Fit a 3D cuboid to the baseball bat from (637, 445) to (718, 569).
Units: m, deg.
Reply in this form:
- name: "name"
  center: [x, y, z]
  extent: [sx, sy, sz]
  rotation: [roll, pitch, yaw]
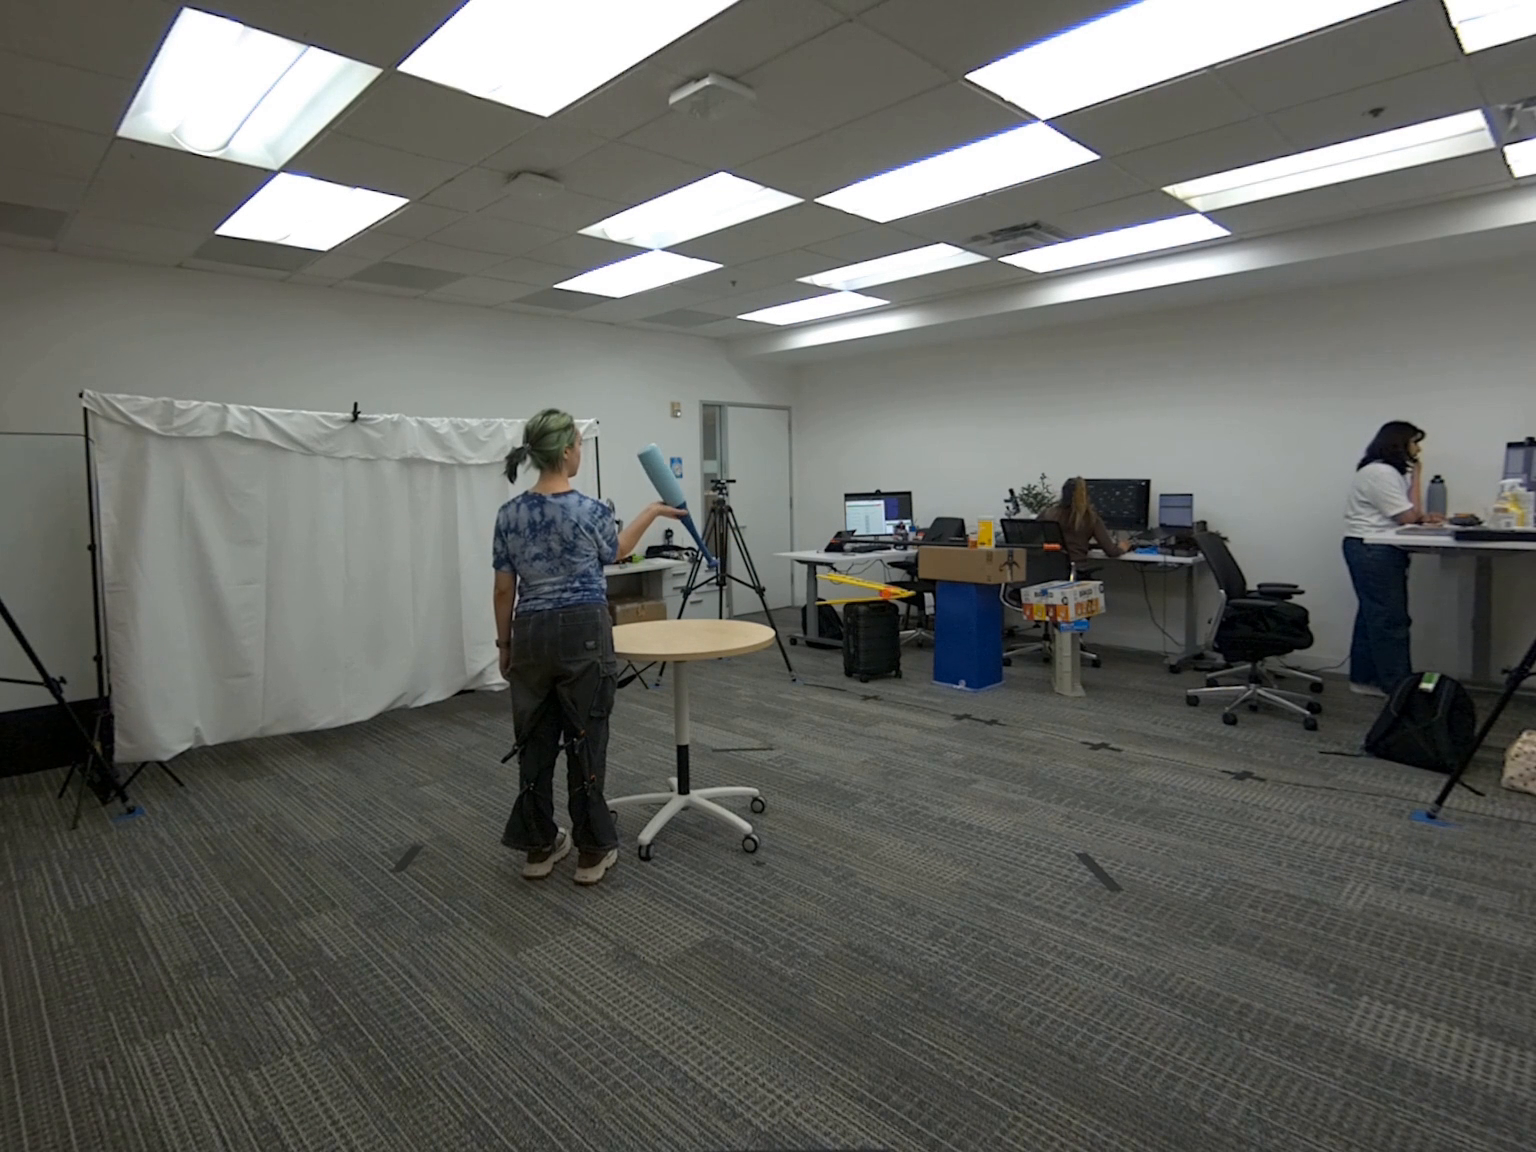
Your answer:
- name: "baseball bat"
  center: [-0.340, -0.259, 3.277]
  extent: [0.089, 0.533, 0.090]
  rotation: [-27, 14, 7]
